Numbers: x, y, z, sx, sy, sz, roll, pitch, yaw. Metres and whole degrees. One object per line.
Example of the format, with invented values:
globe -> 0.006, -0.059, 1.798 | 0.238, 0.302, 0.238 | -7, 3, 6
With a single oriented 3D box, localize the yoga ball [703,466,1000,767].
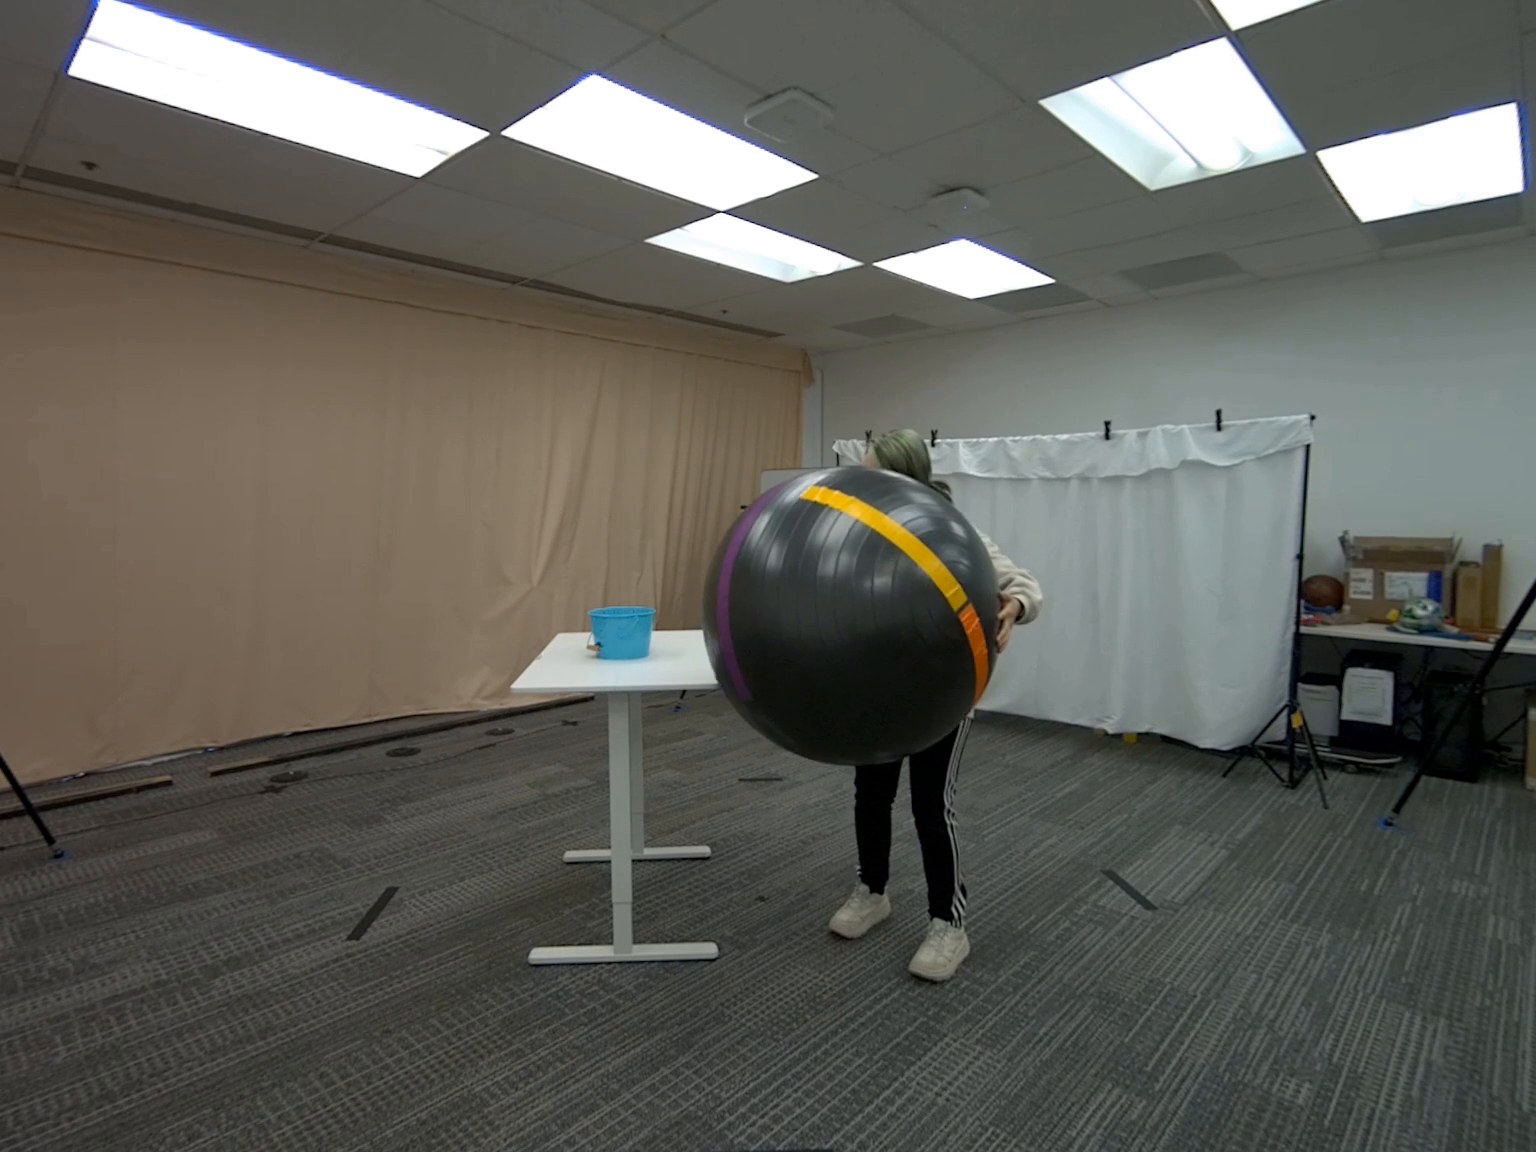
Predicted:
yoga ball -> 0.207, 0.104, 2.152 | 0.757, 0.756, 0.760 | 0, 4, -2
